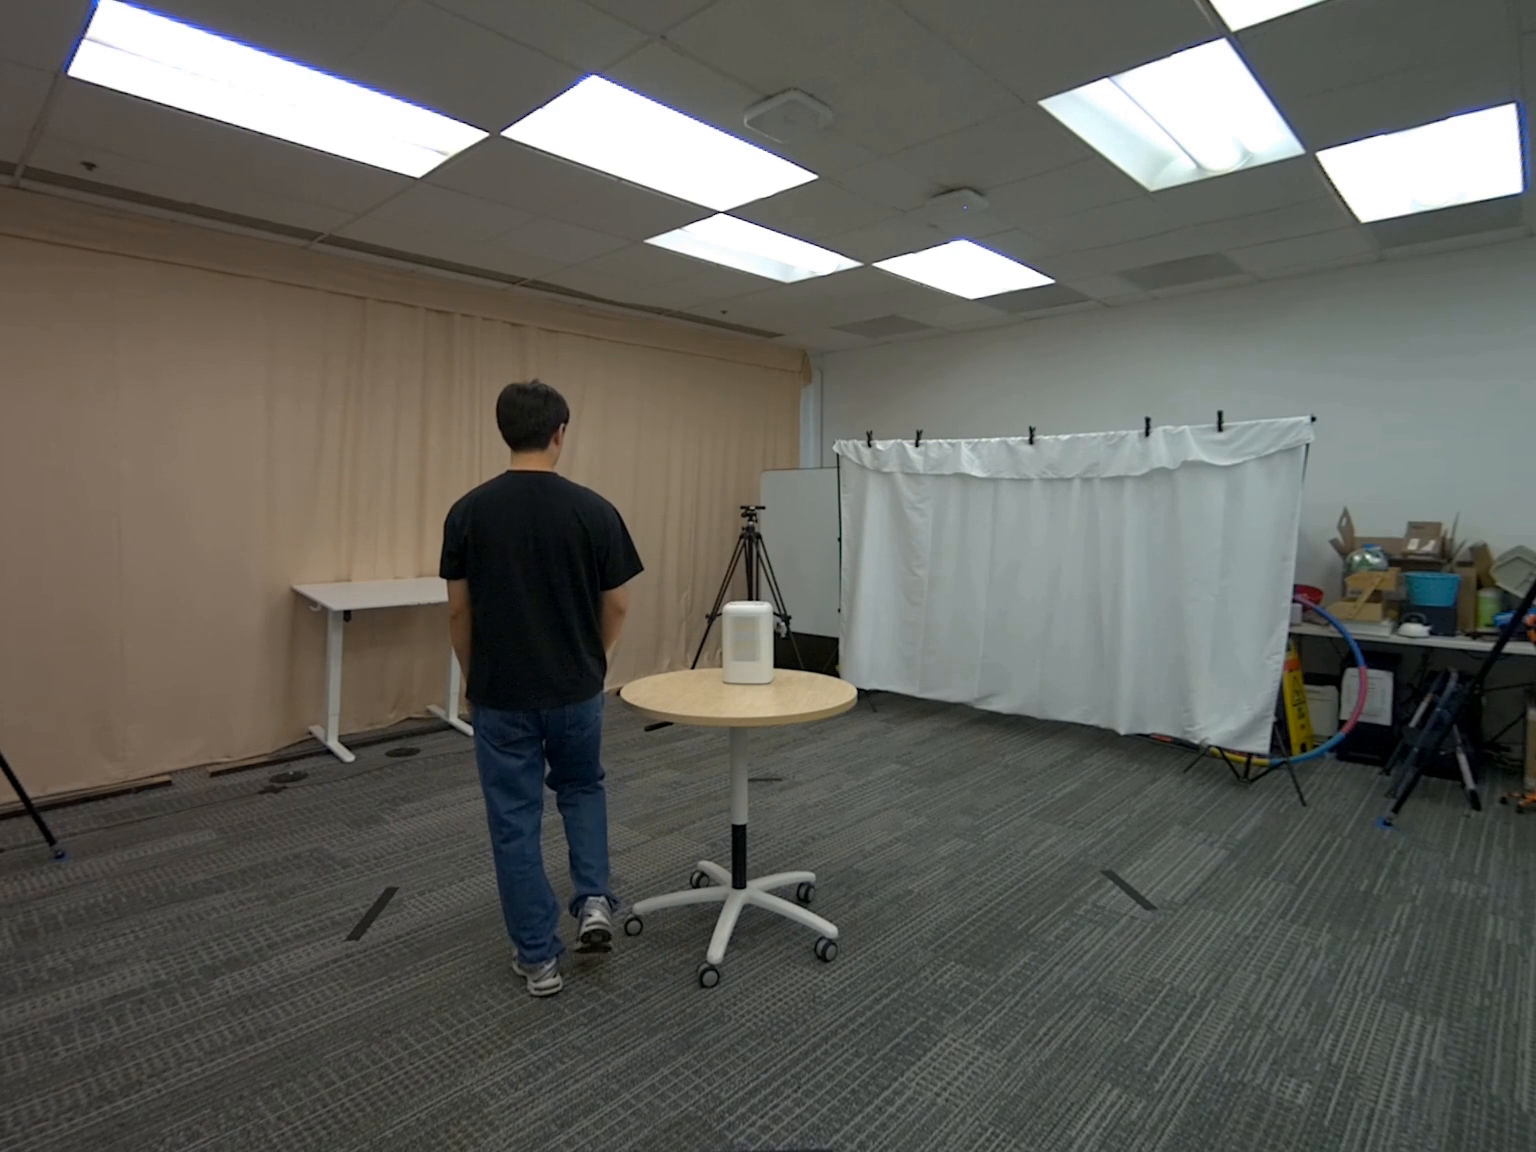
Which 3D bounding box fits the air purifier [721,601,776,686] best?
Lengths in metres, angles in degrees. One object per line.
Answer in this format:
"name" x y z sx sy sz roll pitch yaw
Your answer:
"air purifier" -0.060 0.227 2.883 0.173 0.265 0.170 2 3 5
